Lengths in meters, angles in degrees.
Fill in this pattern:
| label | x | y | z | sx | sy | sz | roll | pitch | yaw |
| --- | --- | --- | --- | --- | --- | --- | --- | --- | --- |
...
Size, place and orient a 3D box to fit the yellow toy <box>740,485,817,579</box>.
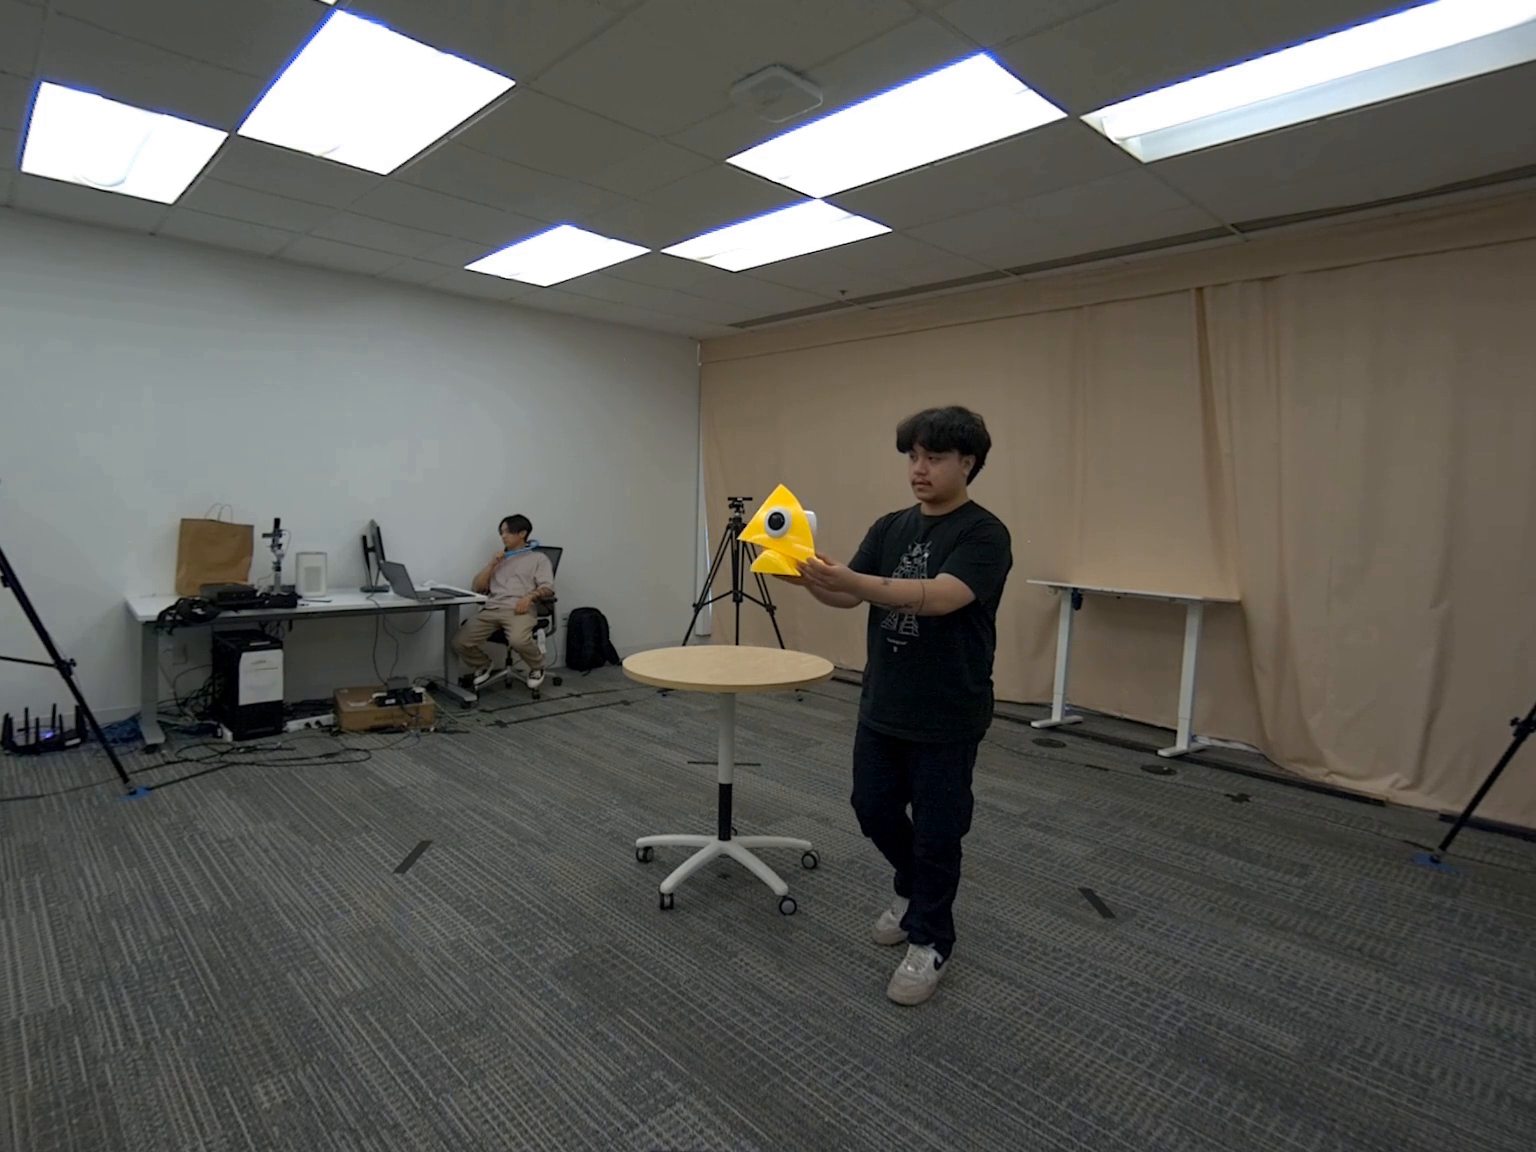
| label | x | y | z | sx | sy | sz | roll | pitch | yaw |
| --- | --- | --- | --- | --- | --- | --- | --- | --- | --- |
| yellow toy | 0.055 | -0.118 | 2.133 | 0.200 | 0.231 | 0.198 | 5 | 0 | -39 |
